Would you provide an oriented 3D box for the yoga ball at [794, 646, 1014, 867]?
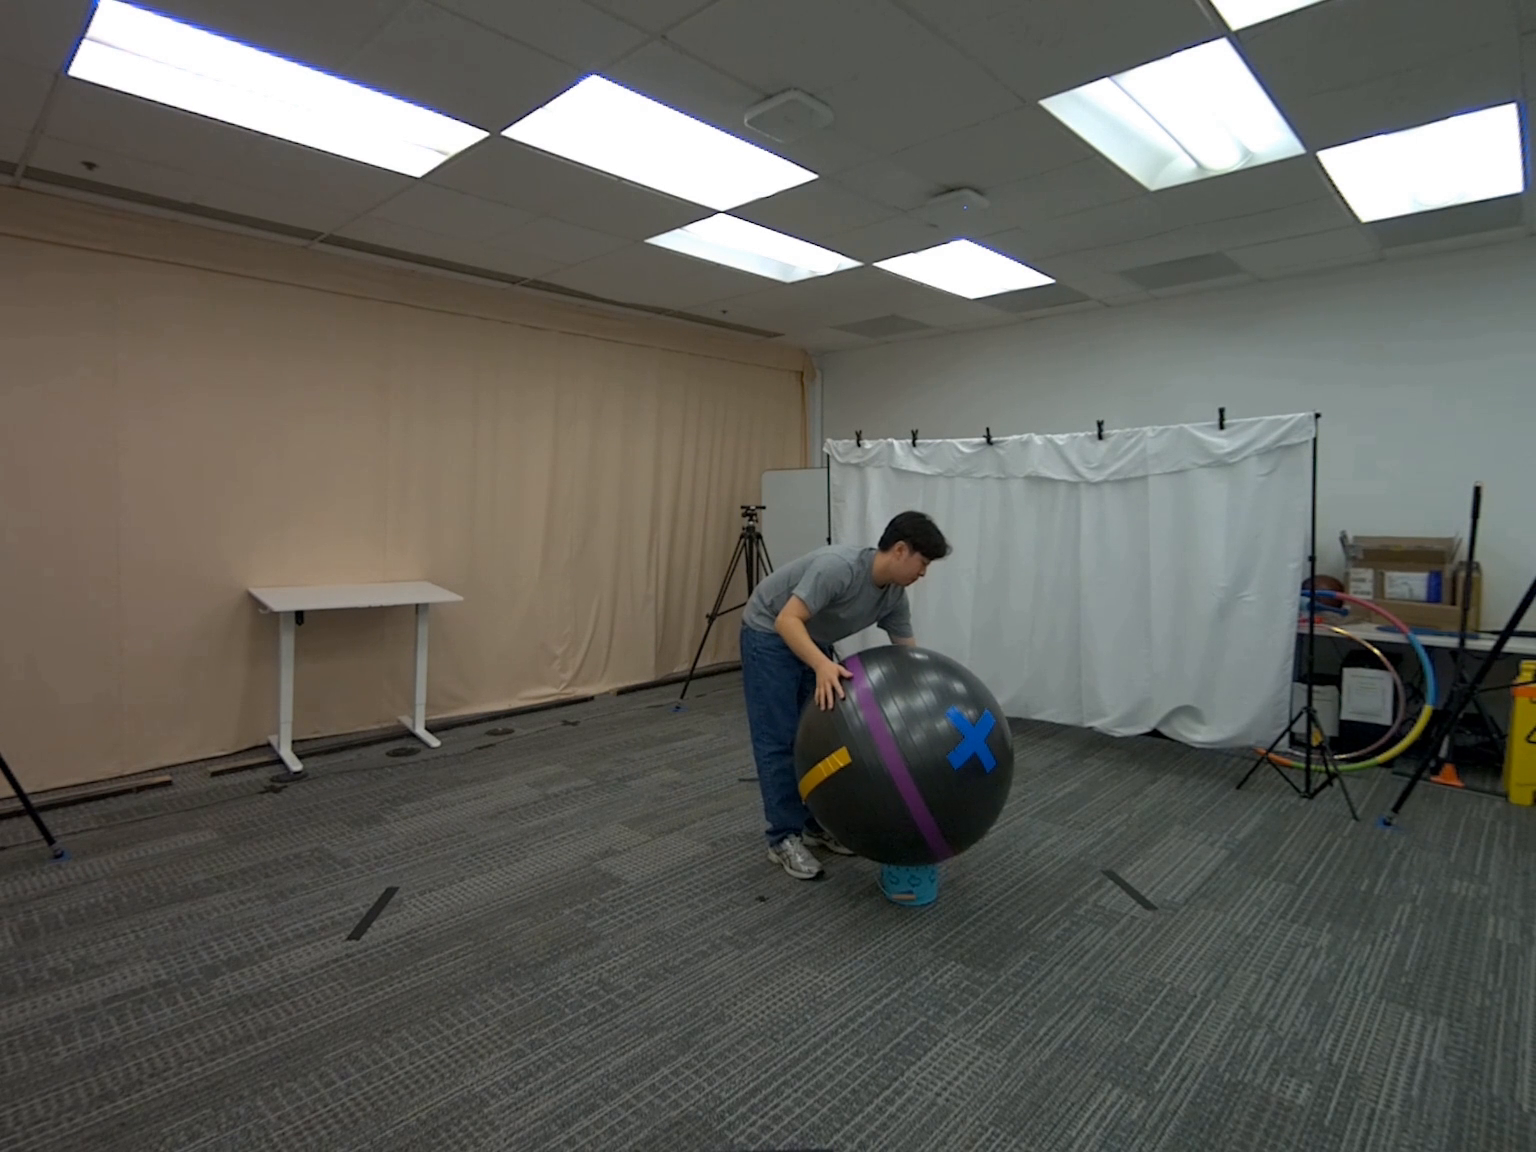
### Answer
[{"bbox_3d":[0.479,0.630,2.979,0.757,0.756,0.760,0,4,-2],"label":"yoga ball"}]
